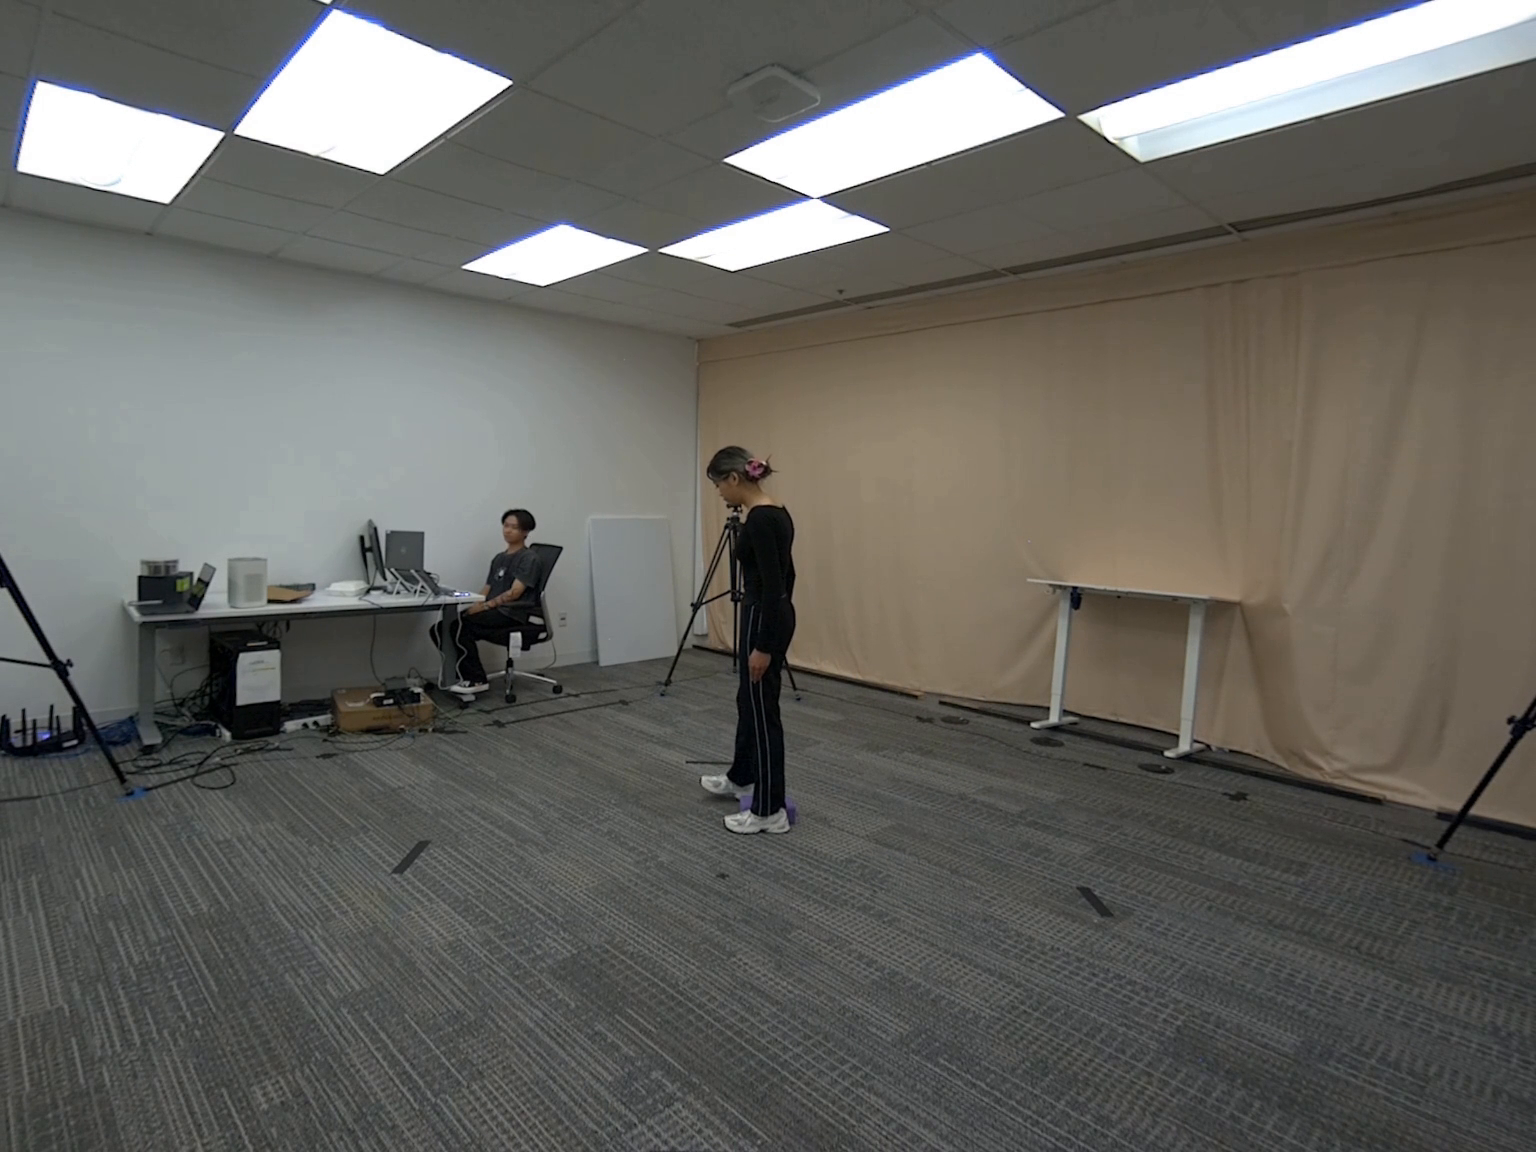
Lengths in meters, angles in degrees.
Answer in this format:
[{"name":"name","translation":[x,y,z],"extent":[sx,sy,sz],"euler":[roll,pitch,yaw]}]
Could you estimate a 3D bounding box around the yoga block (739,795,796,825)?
[{"name":"yoga block","translation":[-0.010,1.021,3.678],"extent":[0.229,0.076,0.150],"euler":[1,4,-3]}]
